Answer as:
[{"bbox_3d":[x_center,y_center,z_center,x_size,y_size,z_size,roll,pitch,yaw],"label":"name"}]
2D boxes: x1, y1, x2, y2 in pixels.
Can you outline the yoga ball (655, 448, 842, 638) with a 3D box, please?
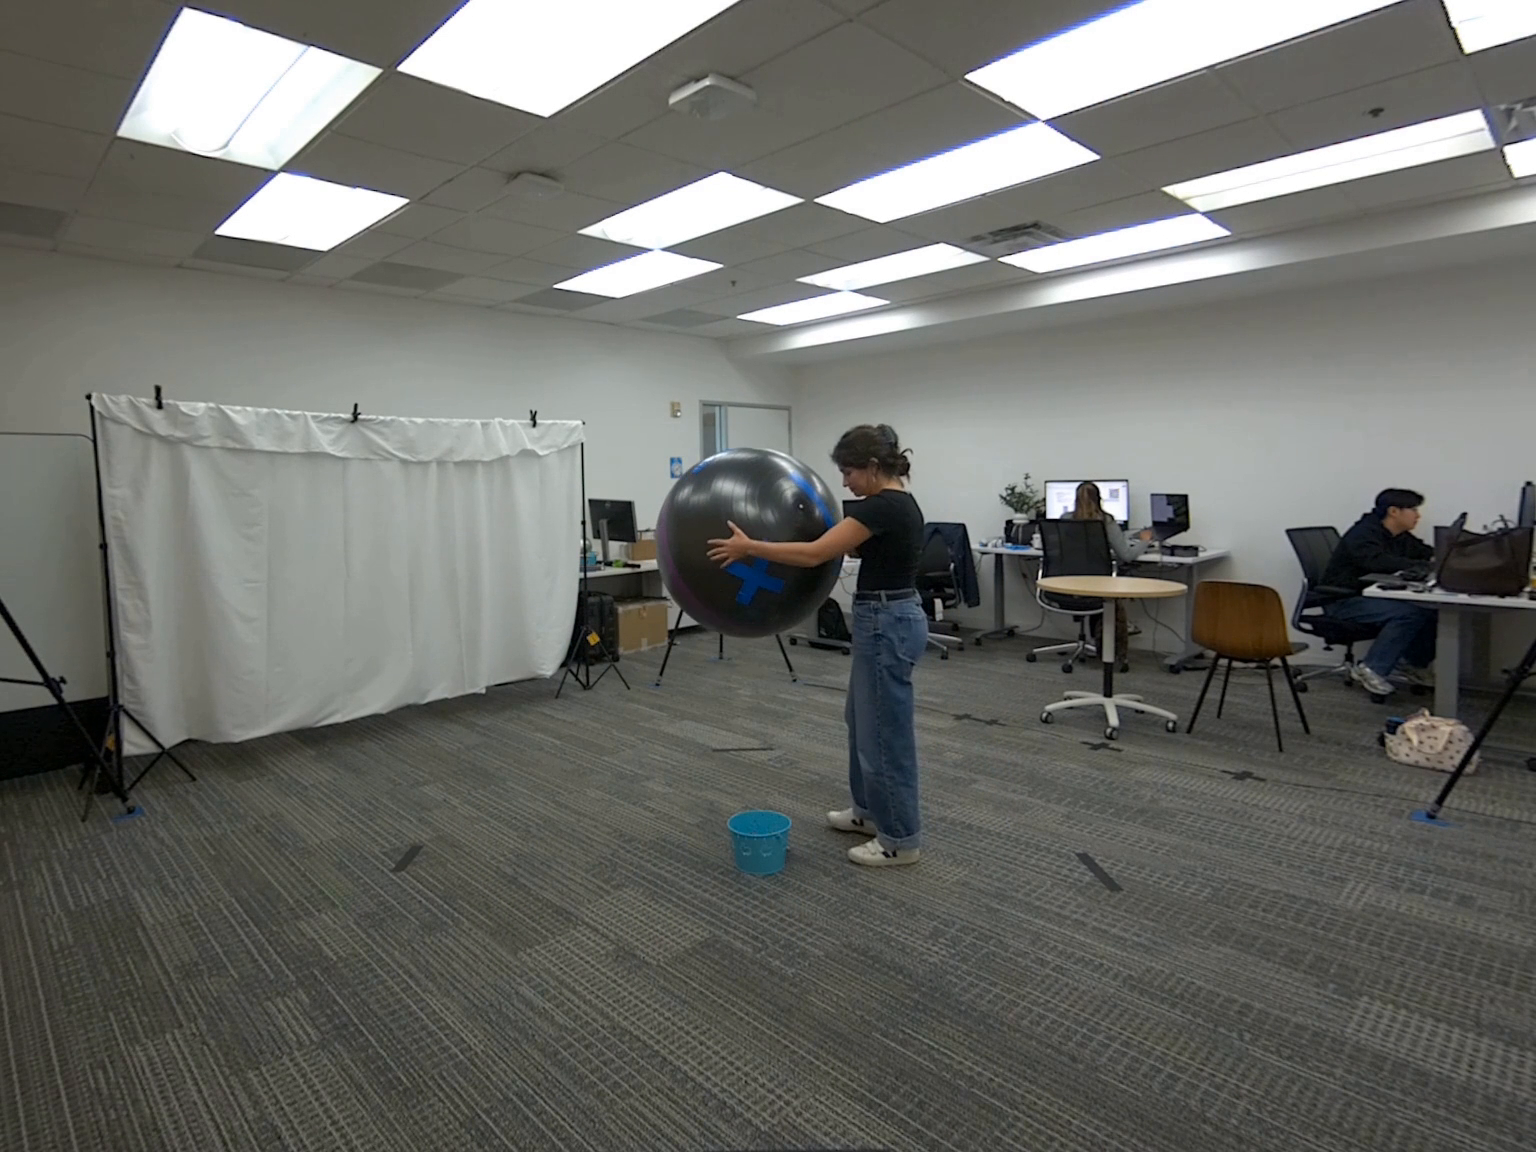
[{"bbox_3d":[-0.080,-0.119,3.413,0.757,0.755,0.762,-1,5,-2],"label":"yoga ball"}]
